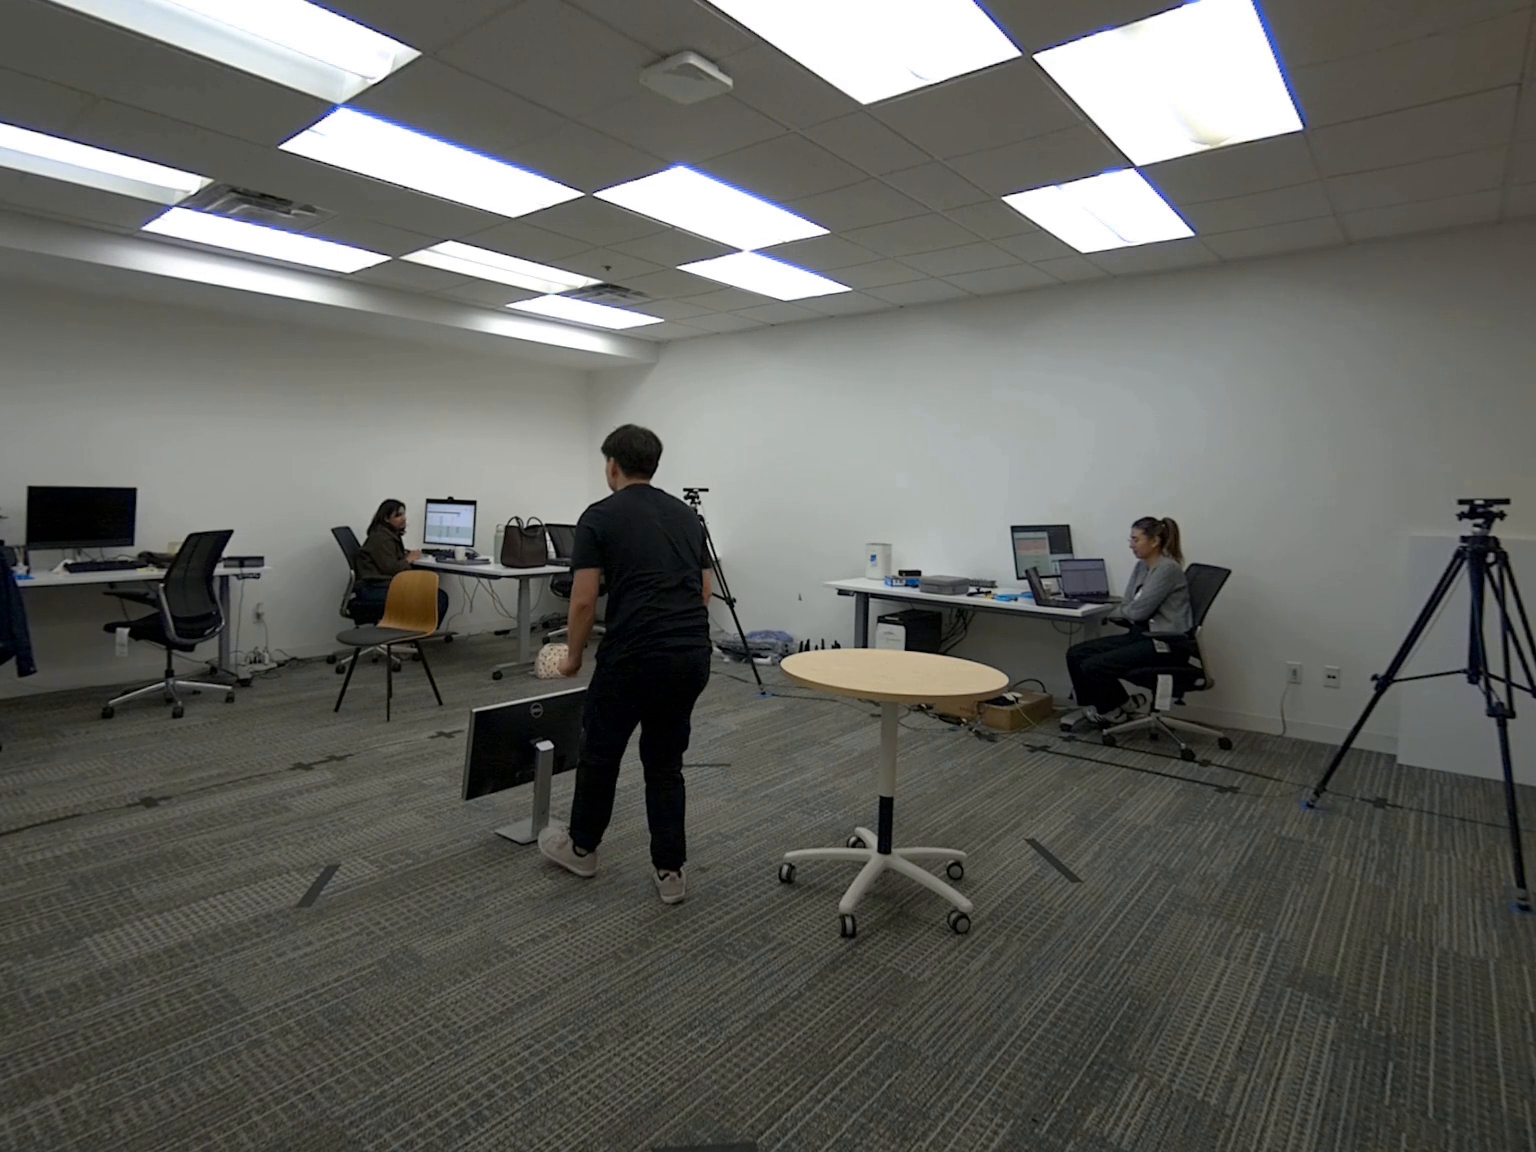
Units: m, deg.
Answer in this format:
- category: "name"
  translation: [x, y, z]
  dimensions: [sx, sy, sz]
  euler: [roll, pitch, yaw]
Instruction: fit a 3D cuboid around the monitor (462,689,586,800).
- category: "monitor"
  translation: [-0.964, 0.763, 3.423]
  dimensions: [0.193, 0.522, 0.523]
  euler: [-1, 2, 37]
